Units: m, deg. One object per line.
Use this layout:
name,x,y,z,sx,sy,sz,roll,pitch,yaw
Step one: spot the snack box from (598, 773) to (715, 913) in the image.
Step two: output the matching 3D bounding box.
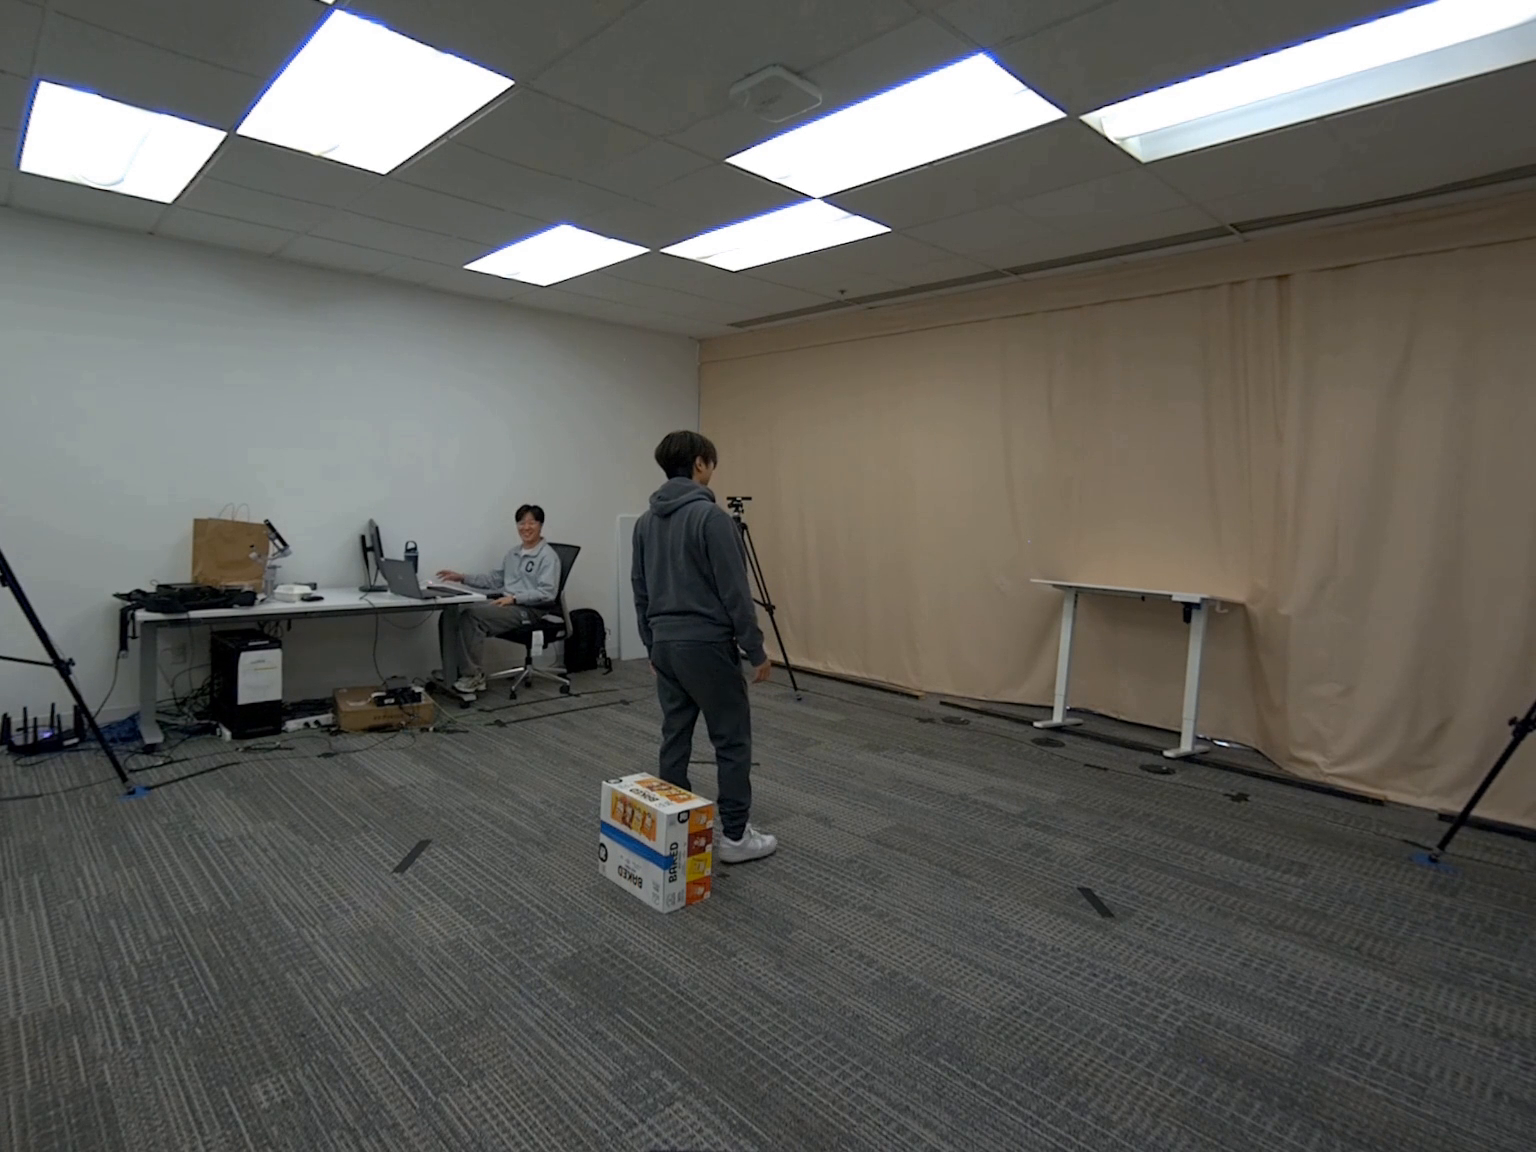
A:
snack box,-0.413,0.940,3.009,0.201,0.340,0.415,1,4,-43
